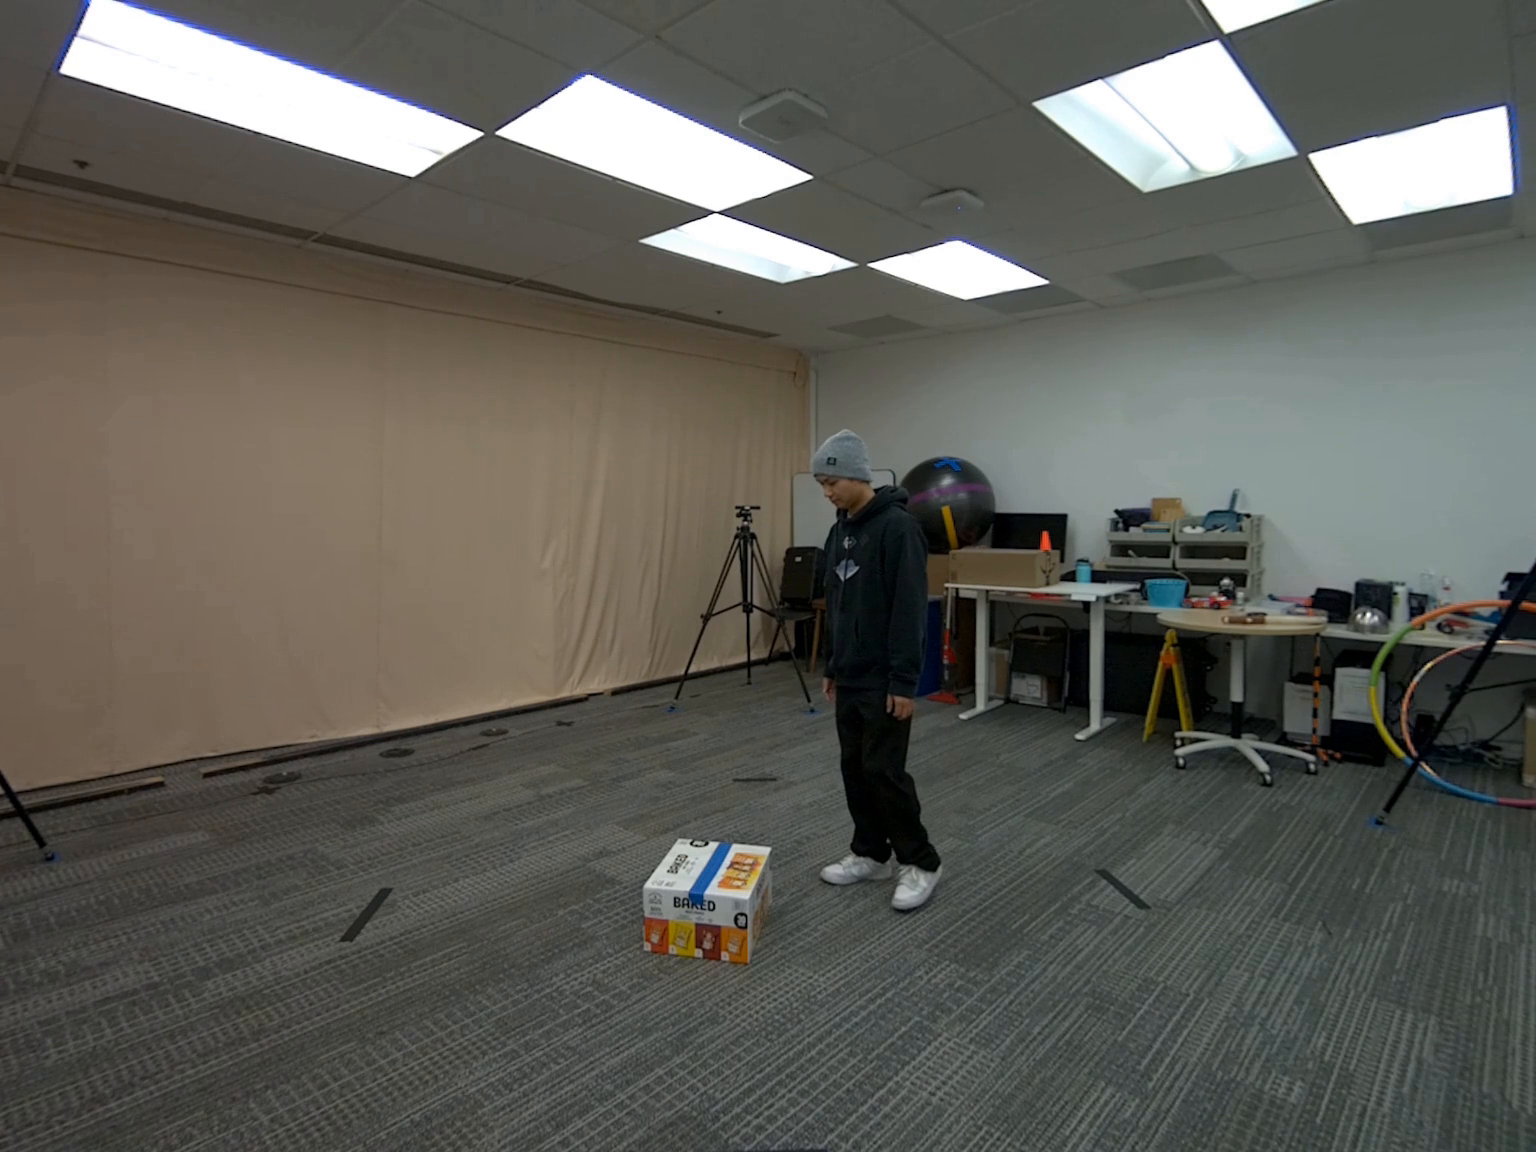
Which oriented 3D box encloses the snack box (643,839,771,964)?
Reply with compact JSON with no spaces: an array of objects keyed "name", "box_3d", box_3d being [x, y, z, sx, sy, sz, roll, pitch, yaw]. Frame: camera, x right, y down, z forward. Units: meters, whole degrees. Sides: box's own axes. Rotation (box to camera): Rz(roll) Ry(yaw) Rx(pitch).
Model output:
[{"name":"snack box","box_3d":[-0.186,1.060,2.782,0.345,0.205,0.400,1,5,12]}]
